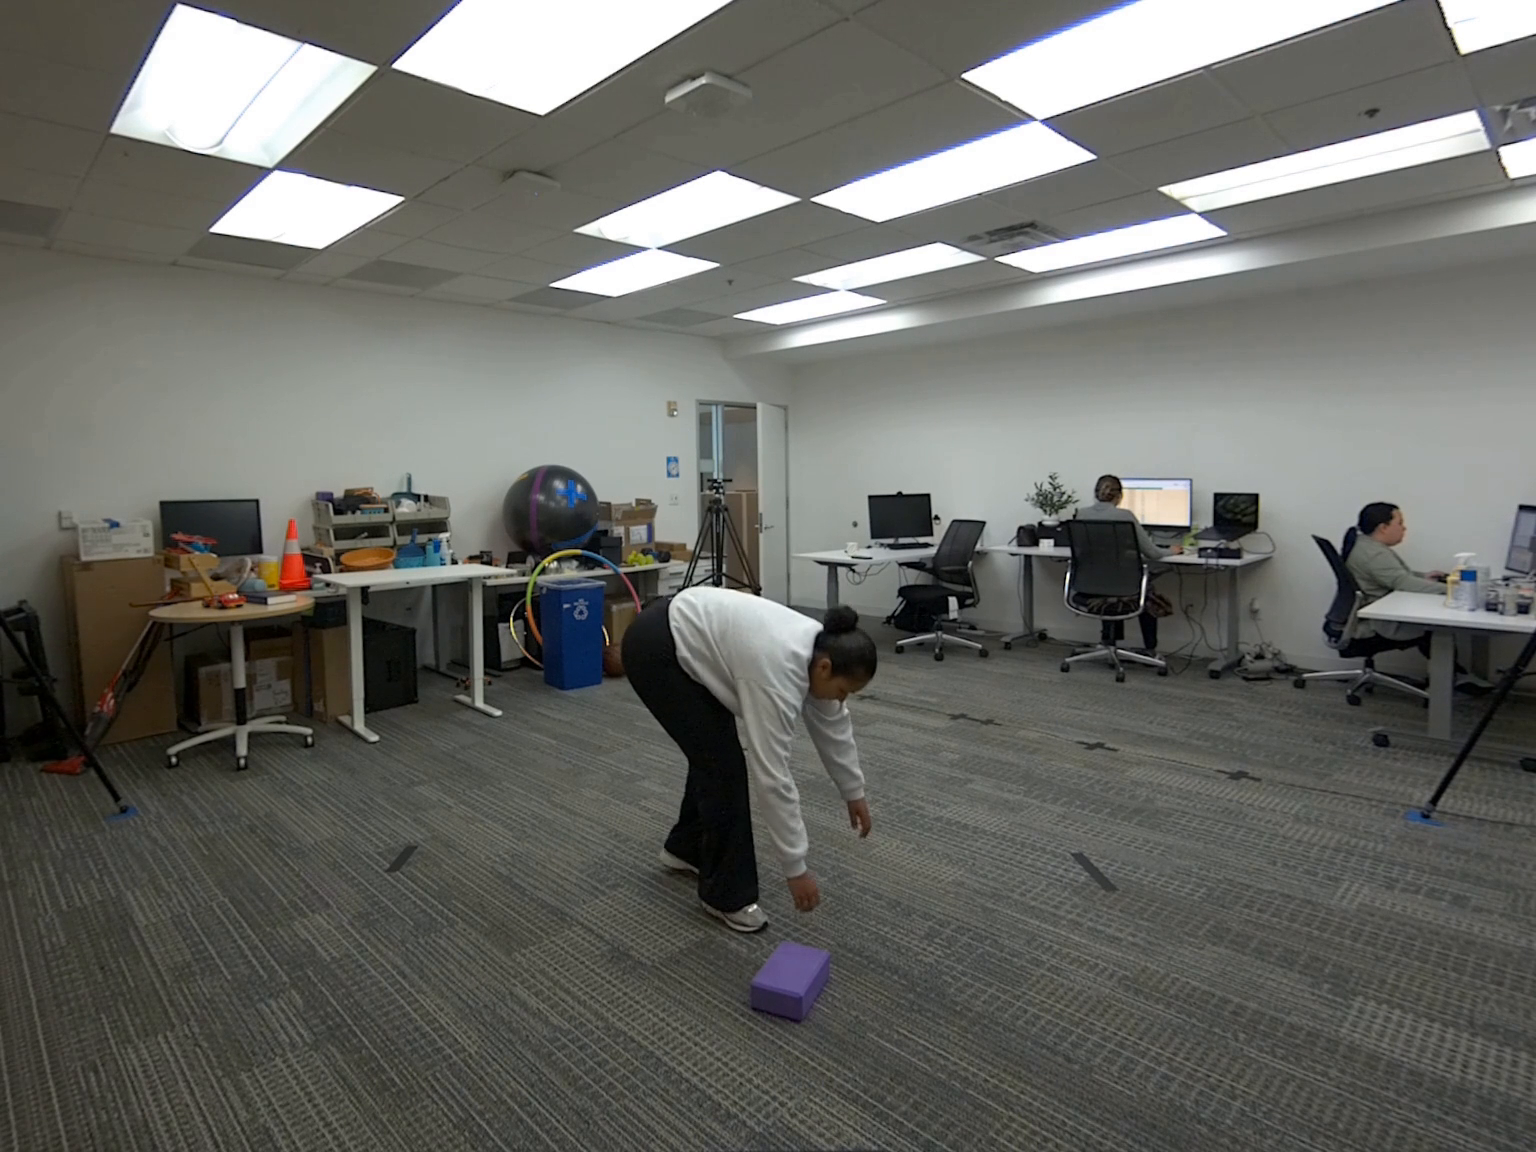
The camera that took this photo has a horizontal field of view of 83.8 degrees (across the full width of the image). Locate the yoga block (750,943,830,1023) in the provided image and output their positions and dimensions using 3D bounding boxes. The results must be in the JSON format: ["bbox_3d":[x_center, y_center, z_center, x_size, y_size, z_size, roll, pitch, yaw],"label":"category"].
[{"bbox_3d":[0.071,1.093,2.319,0.152,0.076,0.225,2,6,25],"label":"yoga block"}]
